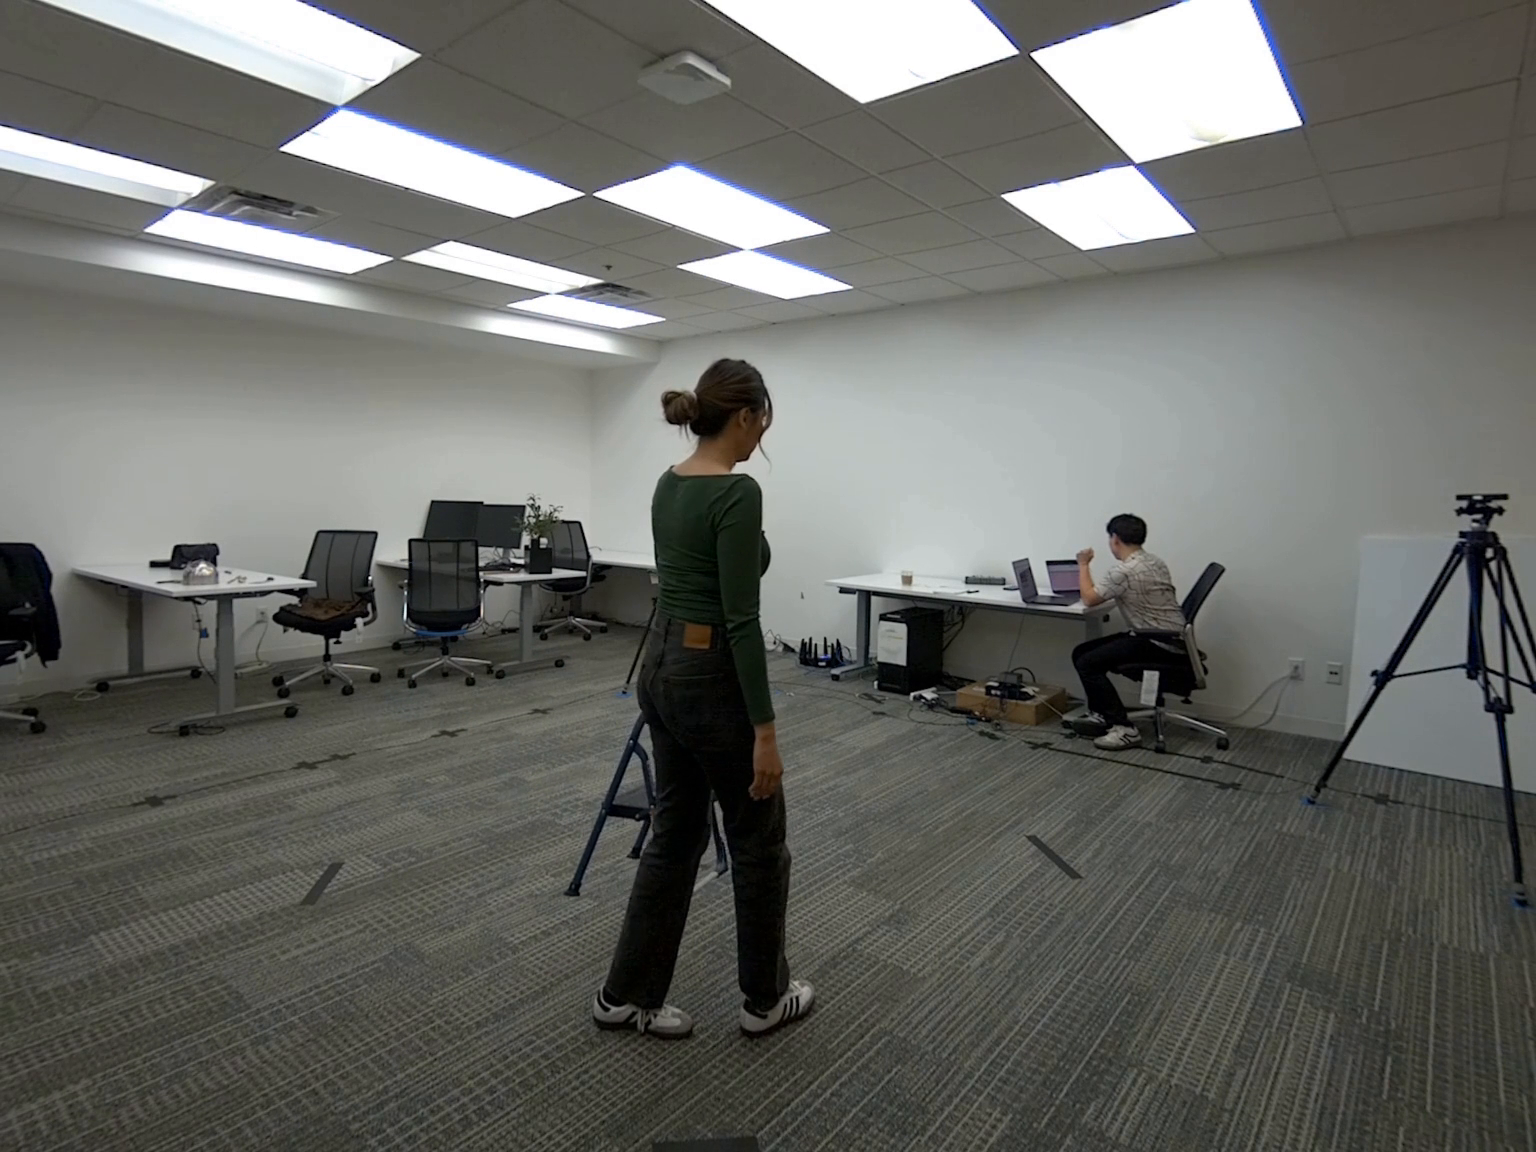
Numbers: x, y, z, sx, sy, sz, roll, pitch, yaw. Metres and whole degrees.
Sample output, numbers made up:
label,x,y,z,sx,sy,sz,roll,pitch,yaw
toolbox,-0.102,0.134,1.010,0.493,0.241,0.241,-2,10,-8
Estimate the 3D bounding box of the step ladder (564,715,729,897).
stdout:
label,x,y,z,sx,sy,sz,roll,pitch,yaw
step ladder,-0.350,0.615,2.561,0.356,0.609,0.421,0,-4,18
